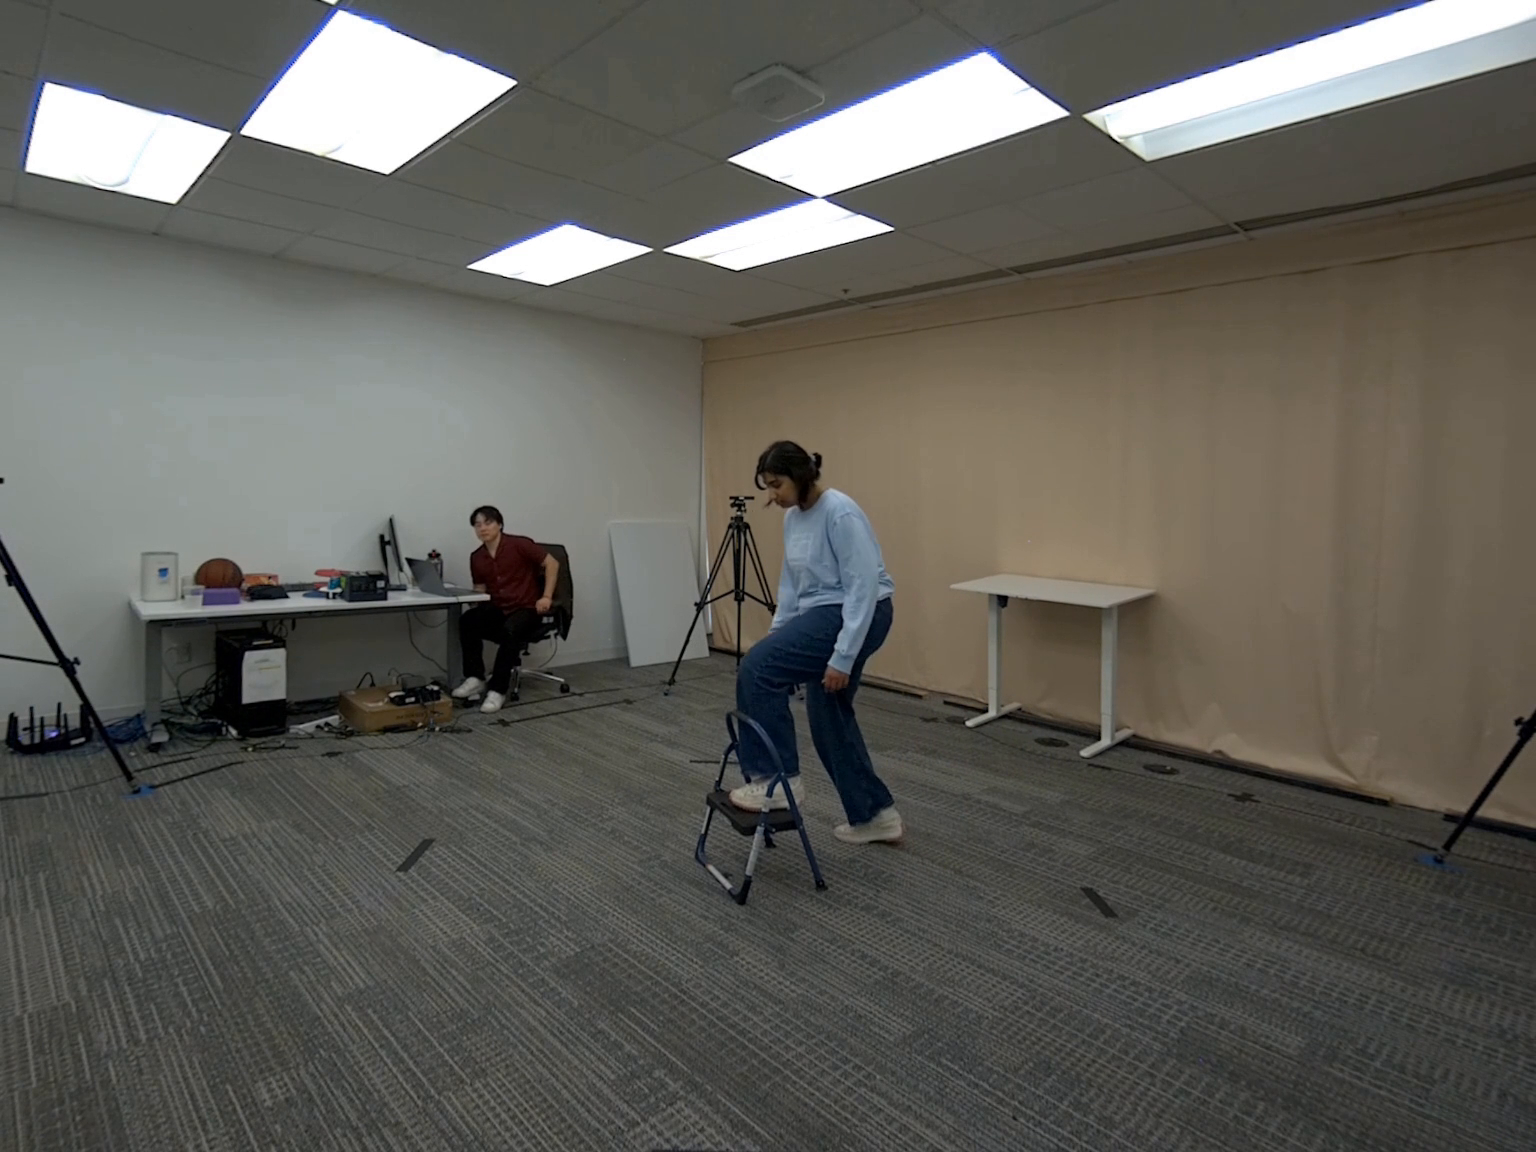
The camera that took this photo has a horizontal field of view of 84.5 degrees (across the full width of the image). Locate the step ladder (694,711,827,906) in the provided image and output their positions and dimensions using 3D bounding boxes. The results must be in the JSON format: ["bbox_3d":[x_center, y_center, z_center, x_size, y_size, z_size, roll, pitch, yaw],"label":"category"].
[{"bbox_3d":[-0.036,0.804,3.110,0.343,0.604,0.440,0,4,-27],"label":"step ladder"}]
